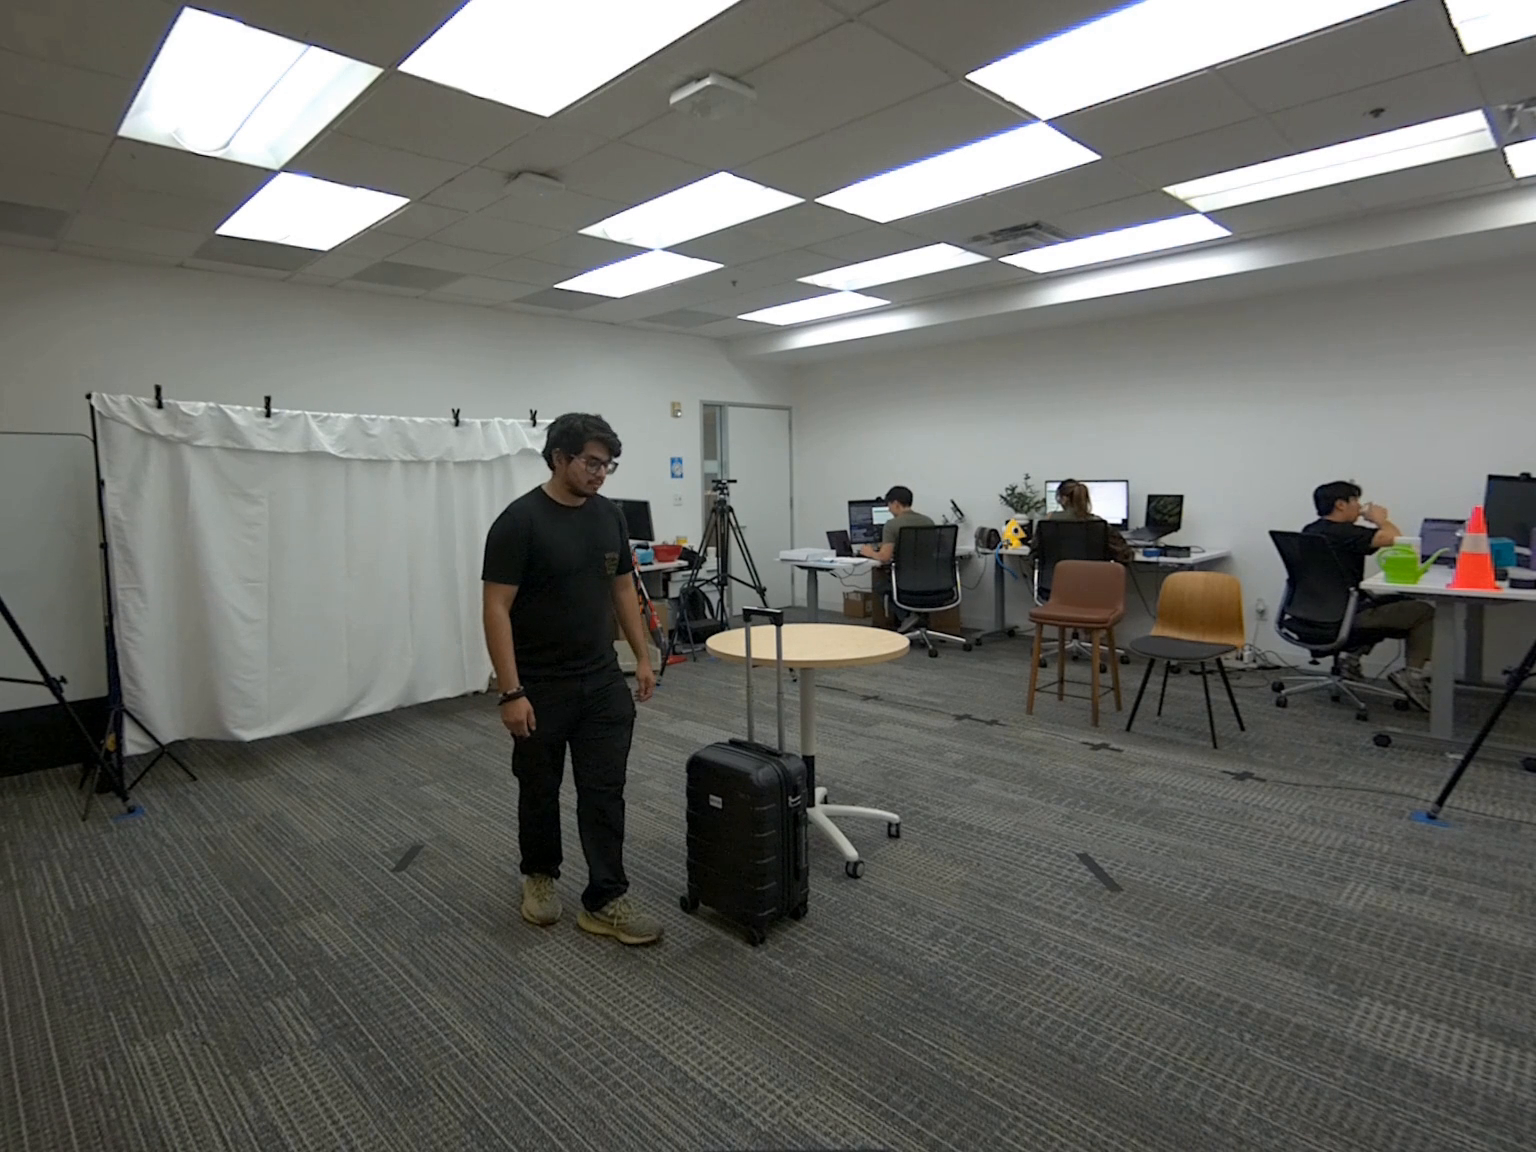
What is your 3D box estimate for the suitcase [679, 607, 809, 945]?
[{"bbox_3d":[-0.069,0.611,2.706,0.396,0.973,0.250,4,7,39],"label":"suitcase"}]
